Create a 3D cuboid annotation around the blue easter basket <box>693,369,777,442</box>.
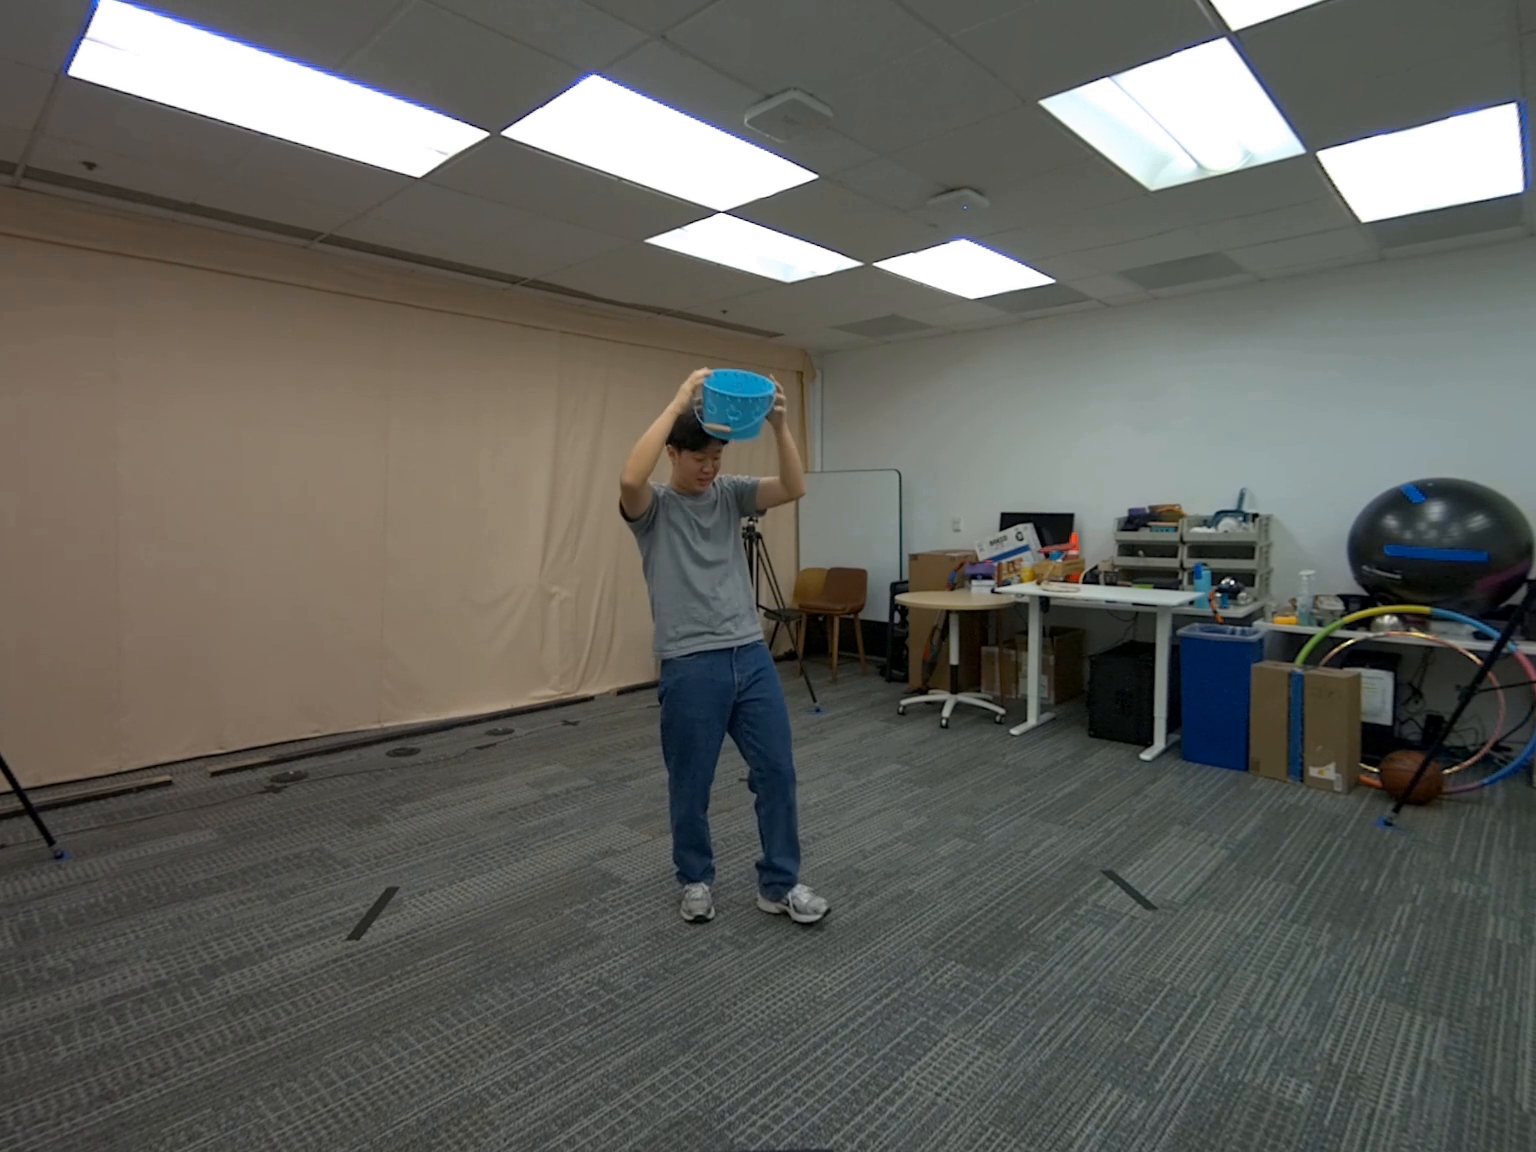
[{"bbox_3d":[-0.109,-0.494,2.575,0.242,0.154,0.248,5,30,-5],"label":"blue easter basket"}]
